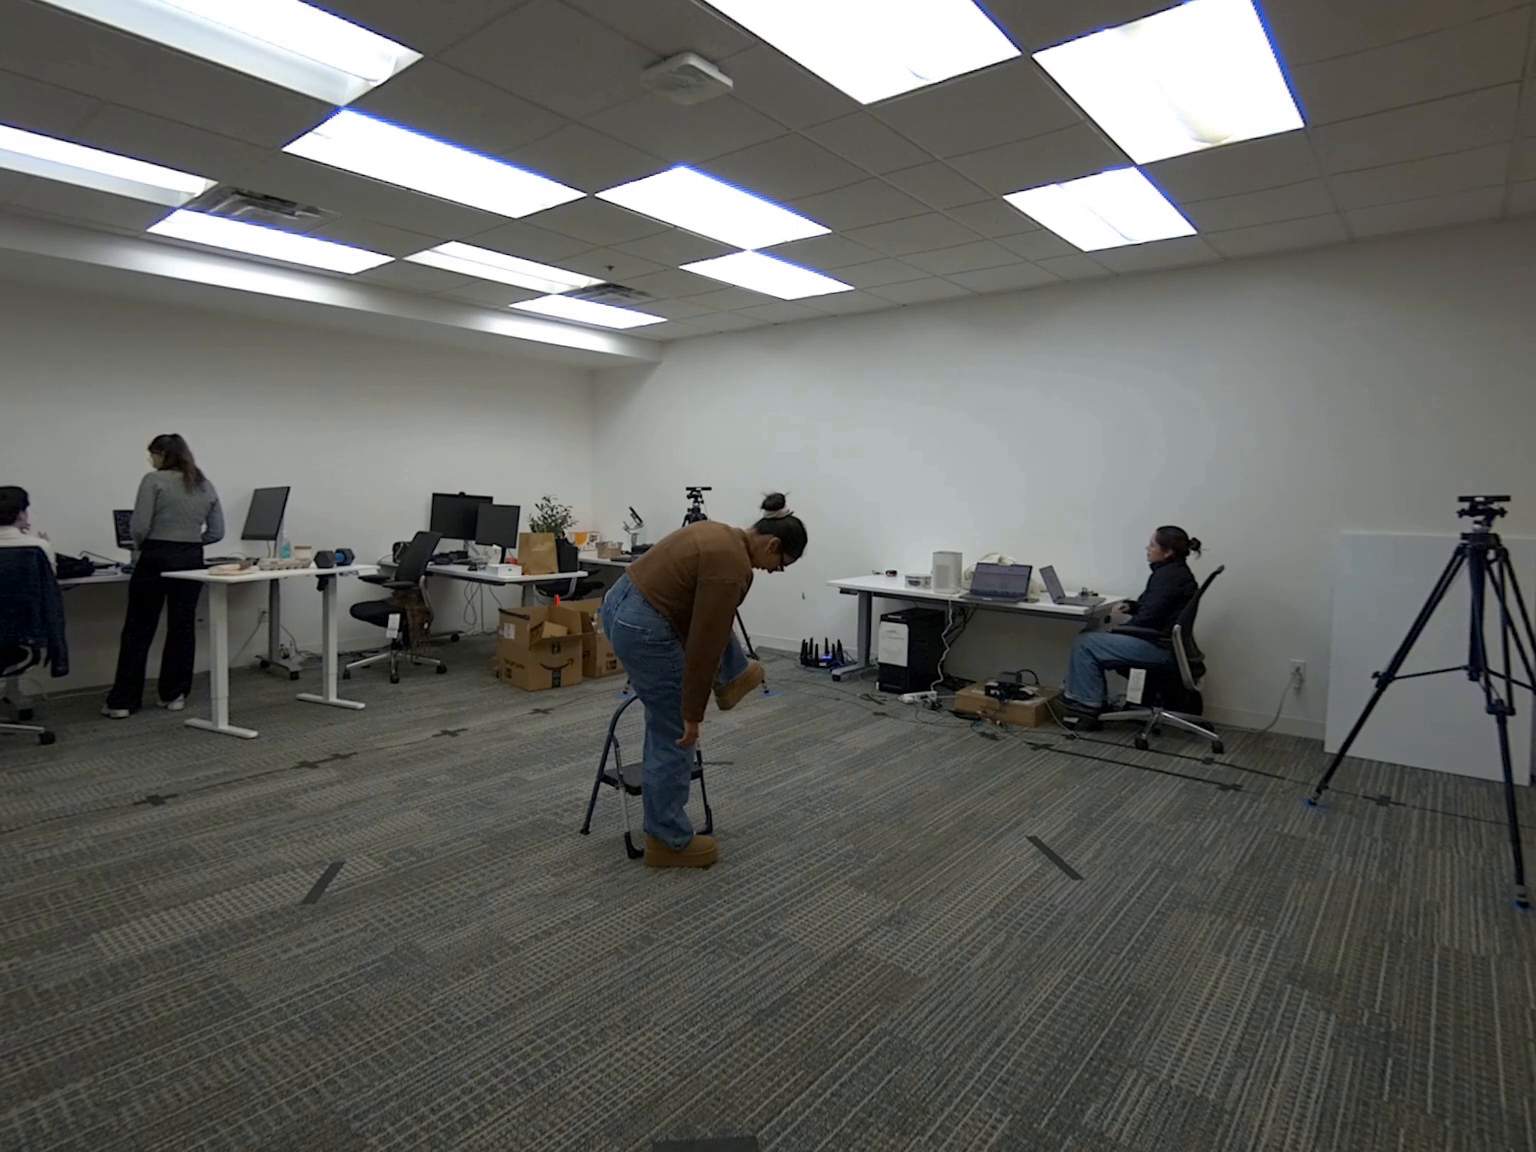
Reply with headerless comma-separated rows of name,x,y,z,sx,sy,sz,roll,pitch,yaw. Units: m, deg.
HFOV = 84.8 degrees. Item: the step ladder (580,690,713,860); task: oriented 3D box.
step ladder,-0.492,0.727,3.414,0.417,0.604,0.361,-3,5,-44
